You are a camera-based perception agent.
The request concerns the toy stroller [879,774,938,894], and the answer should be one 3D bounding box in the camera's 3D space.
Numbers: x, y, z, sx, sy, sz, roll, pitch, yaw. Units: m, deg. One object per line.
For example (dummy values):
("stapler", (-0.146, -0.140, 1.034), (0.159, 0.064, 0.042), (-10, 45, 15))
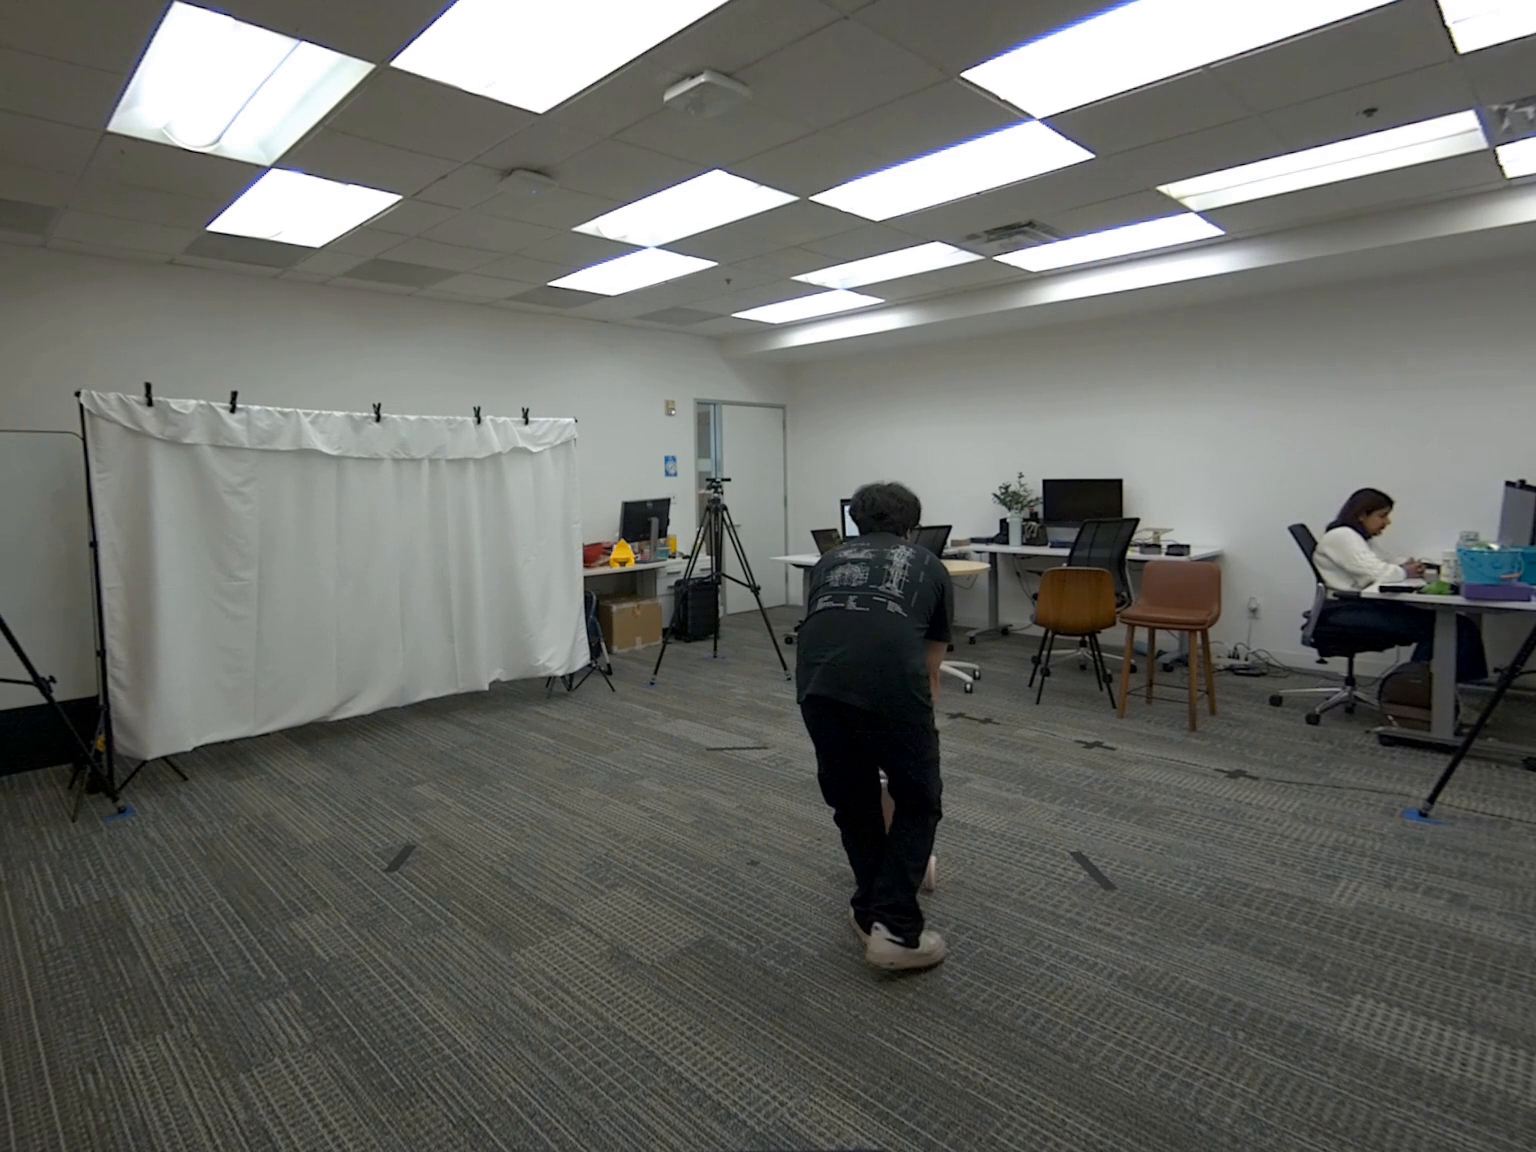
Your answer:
("toy stroller", (0.454, 0.828, 2.973), (0.286, 0.525, 0.341), (1, 20, 18))
